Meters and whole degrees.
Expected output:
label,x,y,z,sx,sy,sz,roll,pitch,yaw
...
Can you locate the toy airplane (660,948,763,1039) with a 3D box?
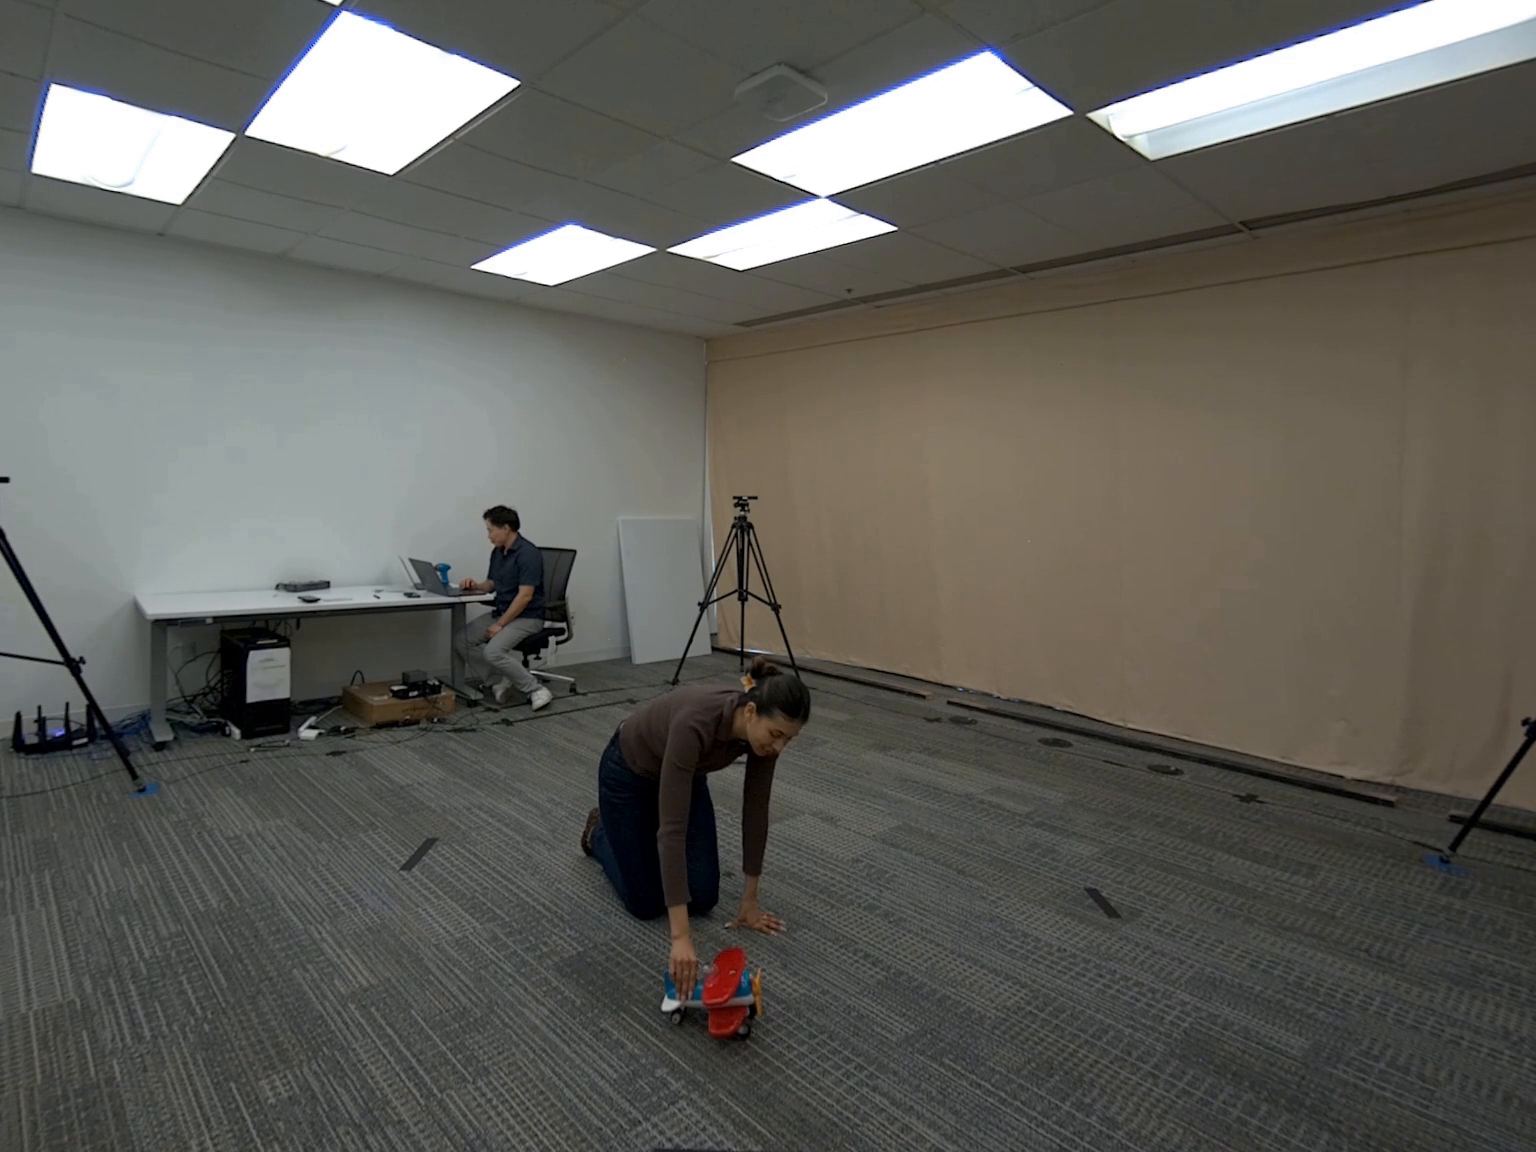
label,x,y,z,sx,sy,sz,roll,pitch,yaw
toy airplane,-0.157,1.119,2.192,0.256,0.156,0.255,1,6,-17
